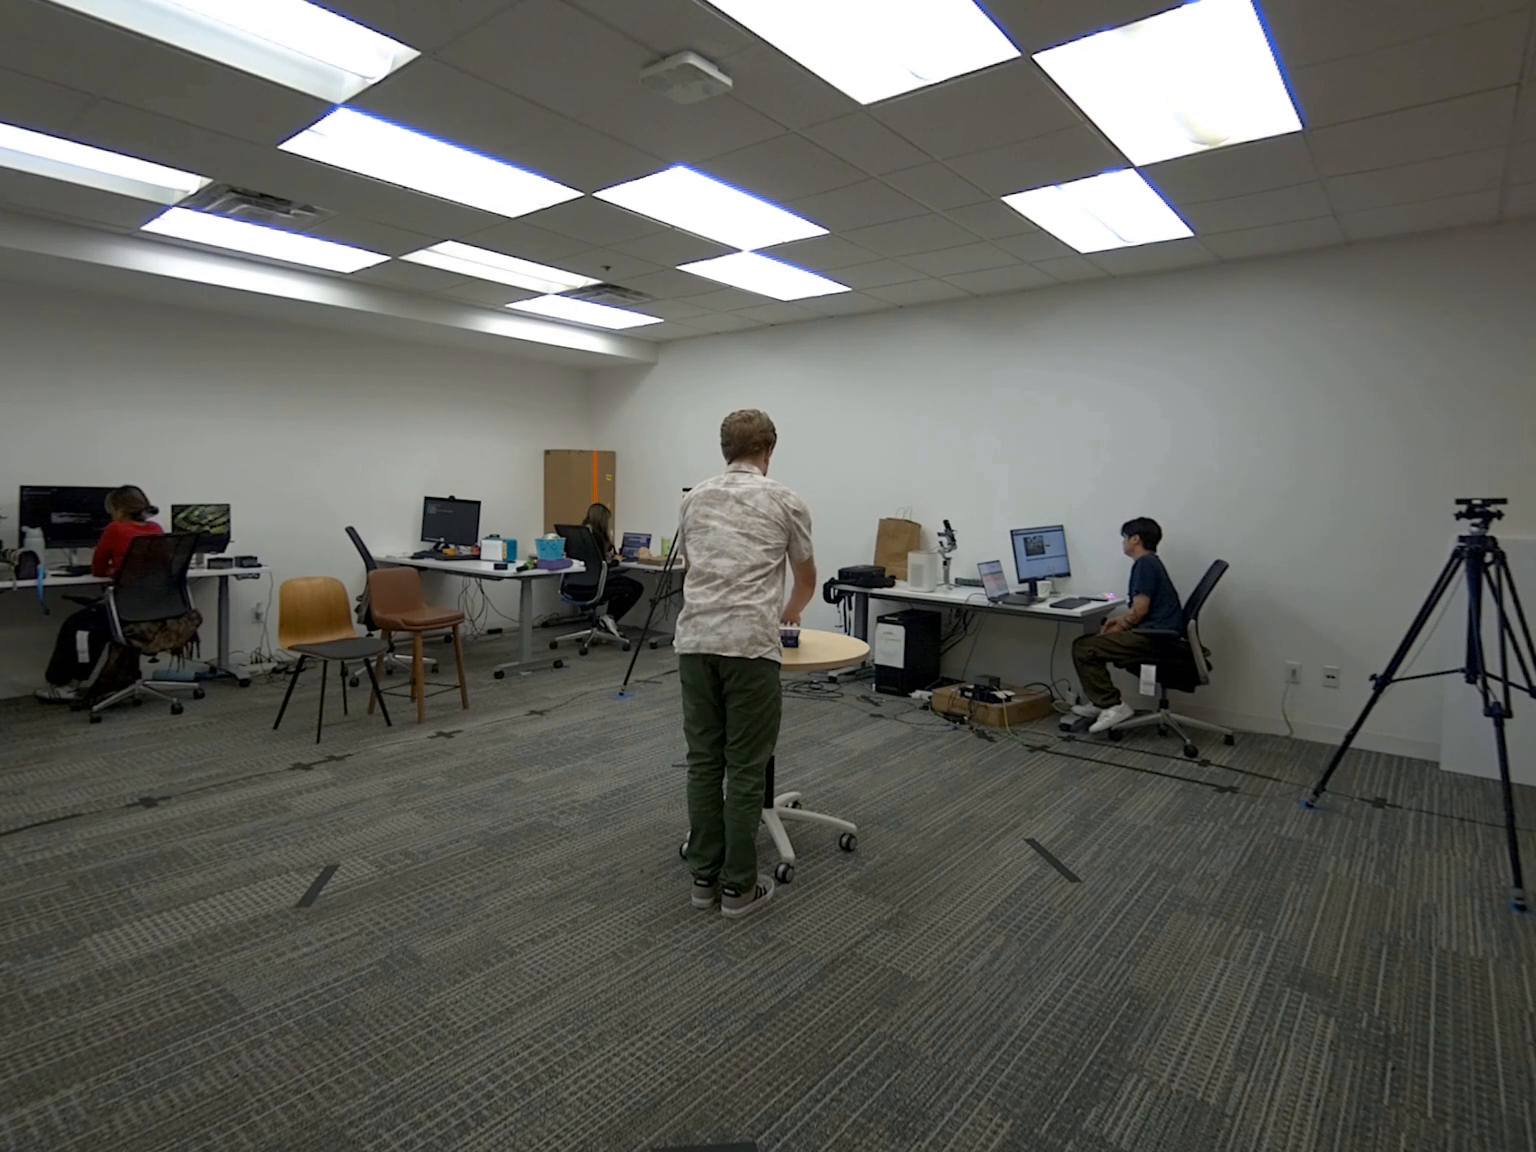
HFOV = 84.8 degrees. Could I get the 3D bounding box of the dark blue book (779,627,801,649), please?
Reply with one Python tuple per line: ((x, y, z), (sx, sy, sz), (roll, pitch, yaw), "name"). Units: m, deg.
((-0.002, 0.234, 3.345), (0.247, 0.045, 0.163), (2, 6, 8), "dark blue book")
